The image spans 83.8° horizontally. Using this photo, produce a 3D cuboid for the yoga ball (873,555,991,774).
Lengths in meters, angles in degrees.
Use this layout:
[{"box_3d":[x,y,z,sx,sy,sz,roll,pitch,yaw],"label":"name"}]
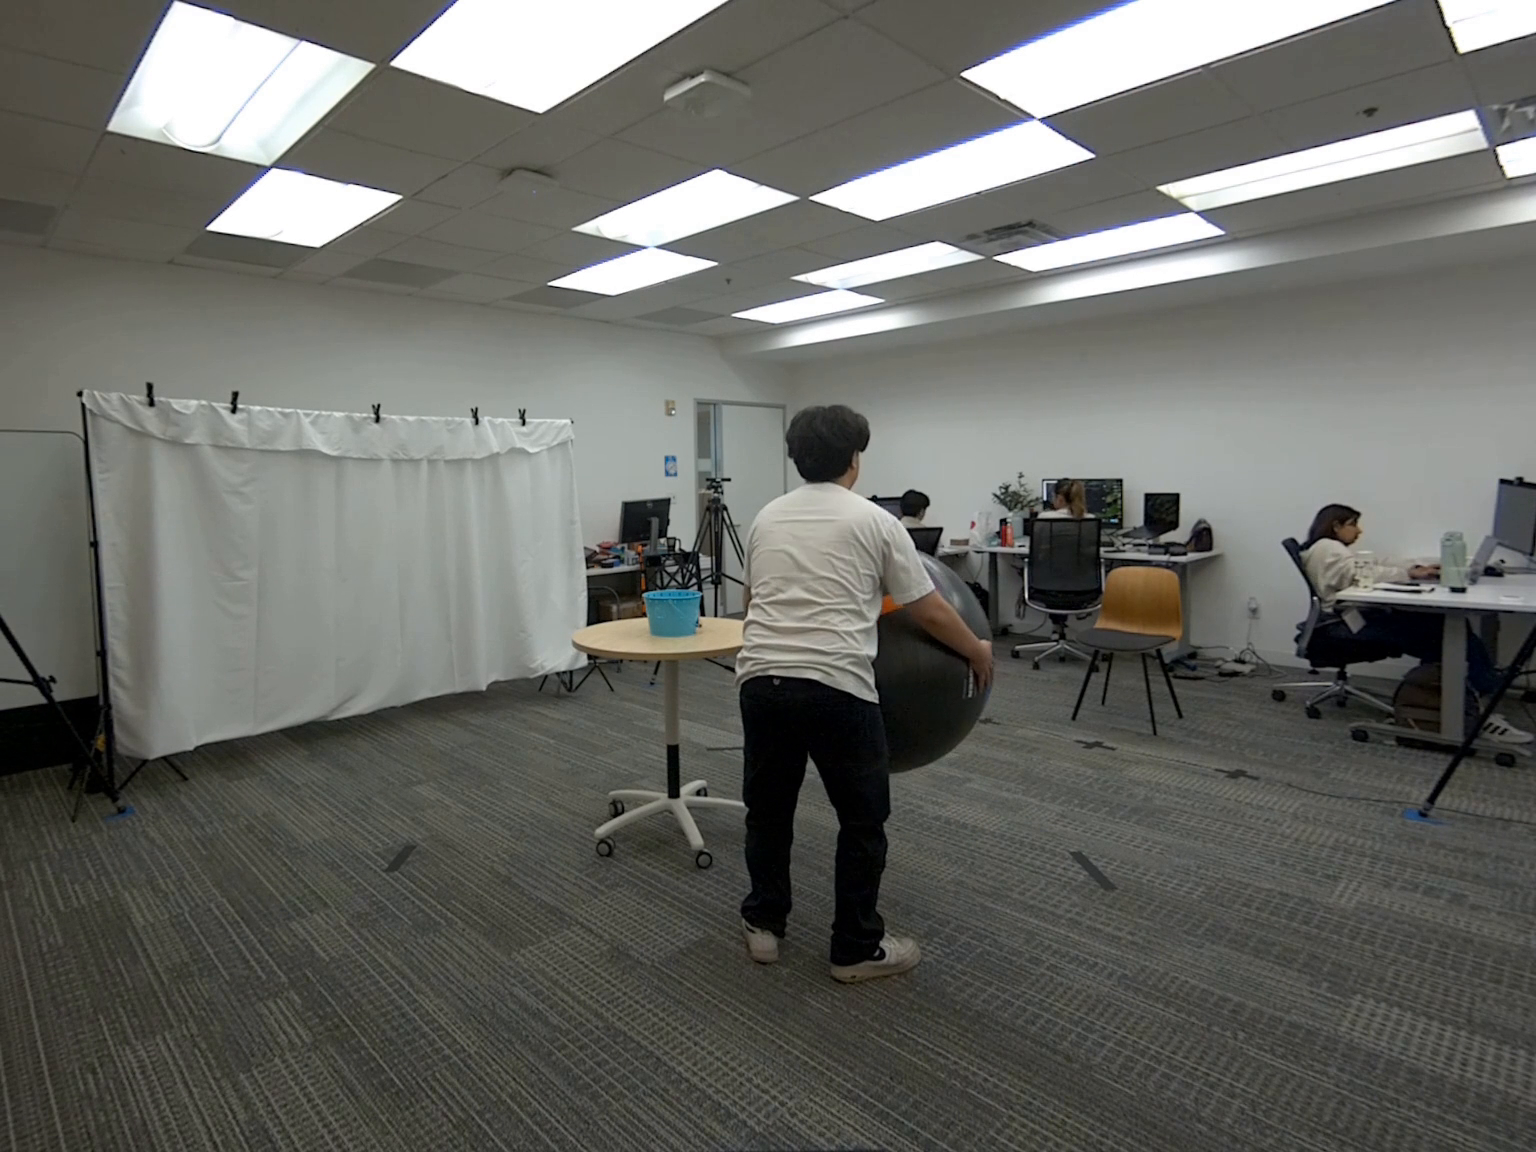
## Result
[{"box_3d":[0.385,0.275,2.863,0.757,0.755,0.762,-1,5,-2],"label":"yoga ball"}]
